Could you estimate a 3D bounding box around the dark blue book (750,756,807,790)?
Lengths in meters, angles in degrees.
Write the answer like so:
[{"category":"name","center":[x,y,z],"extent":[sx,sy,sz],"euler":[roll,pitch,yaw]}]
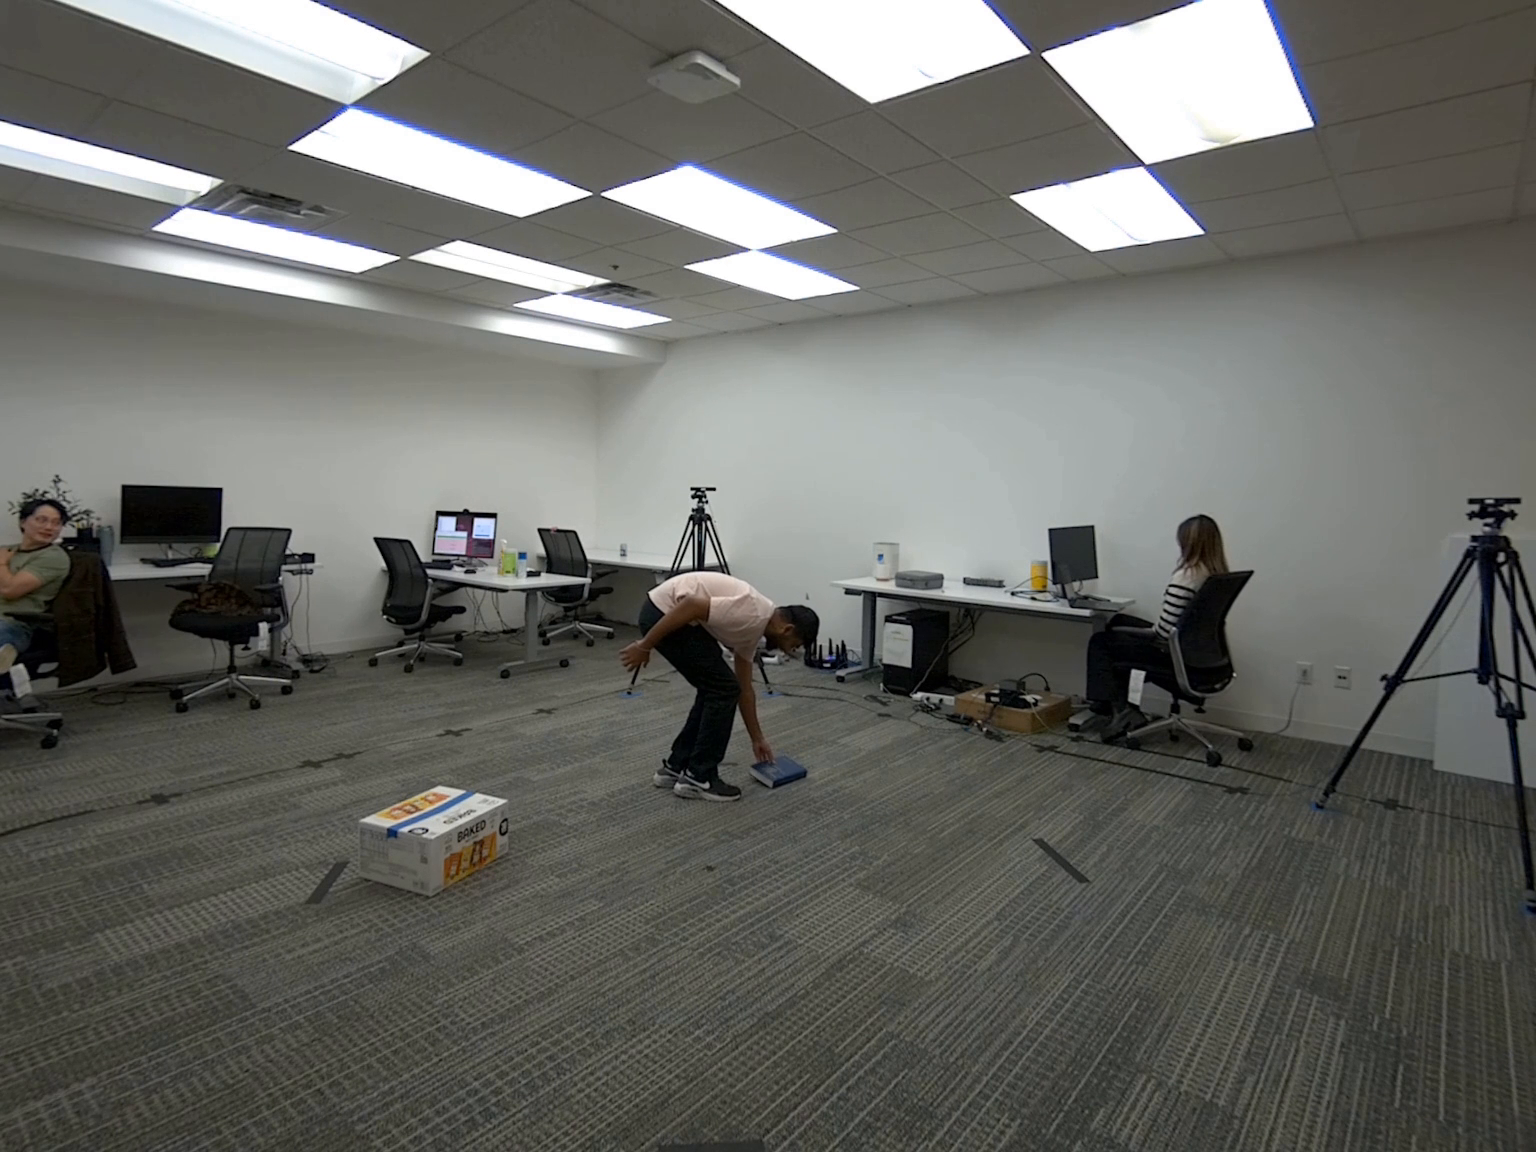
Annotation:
[{"category":"dark blue book","center":[0.038,0.945,4.095],"extent":[0.238,0.045,0.170],"euler":[-5,19,-45]}]
